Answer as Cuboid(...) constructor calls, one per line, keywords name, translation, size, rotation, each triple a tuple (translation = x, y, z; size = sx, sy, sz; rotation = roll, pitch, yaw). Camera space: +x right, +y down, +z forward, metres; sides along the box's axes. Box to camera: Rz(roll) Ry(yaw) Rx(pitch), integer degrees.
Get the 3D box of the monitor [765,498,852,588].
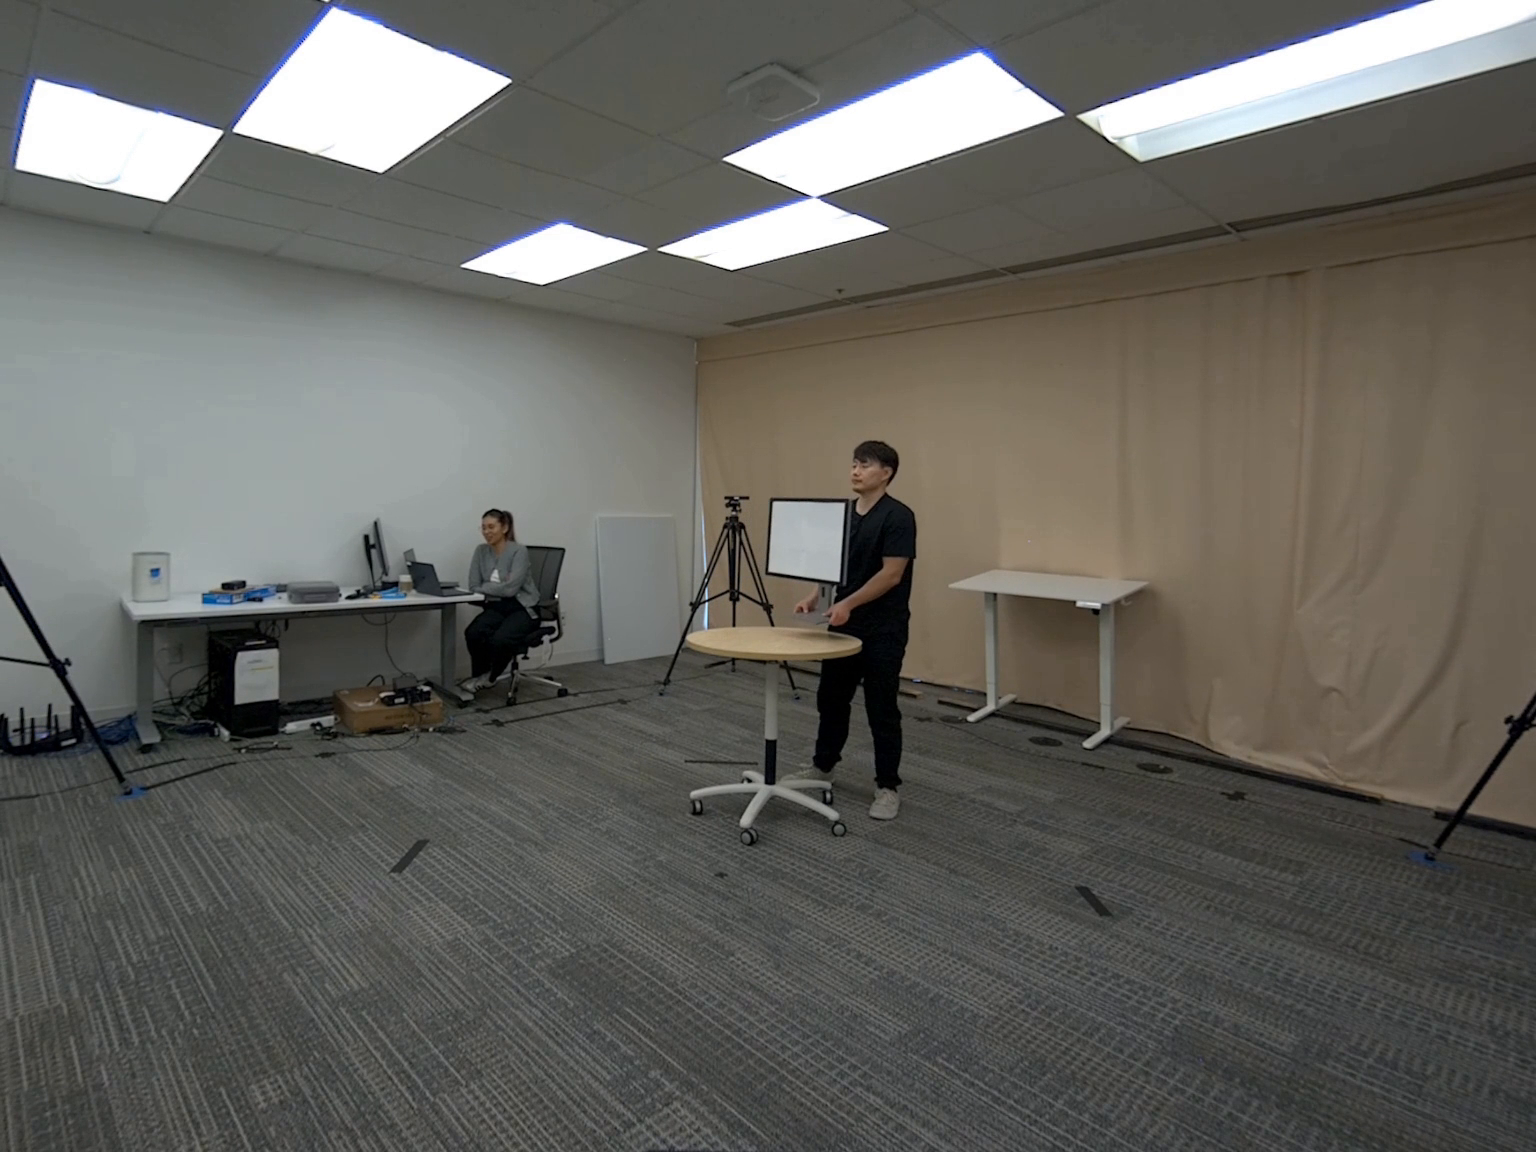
Cuboid(name="monitor", translation=(0.186, -0.081, 3.742), size=(0.184, 0.519, 0.552), rotation=(-12, 11, -35))
